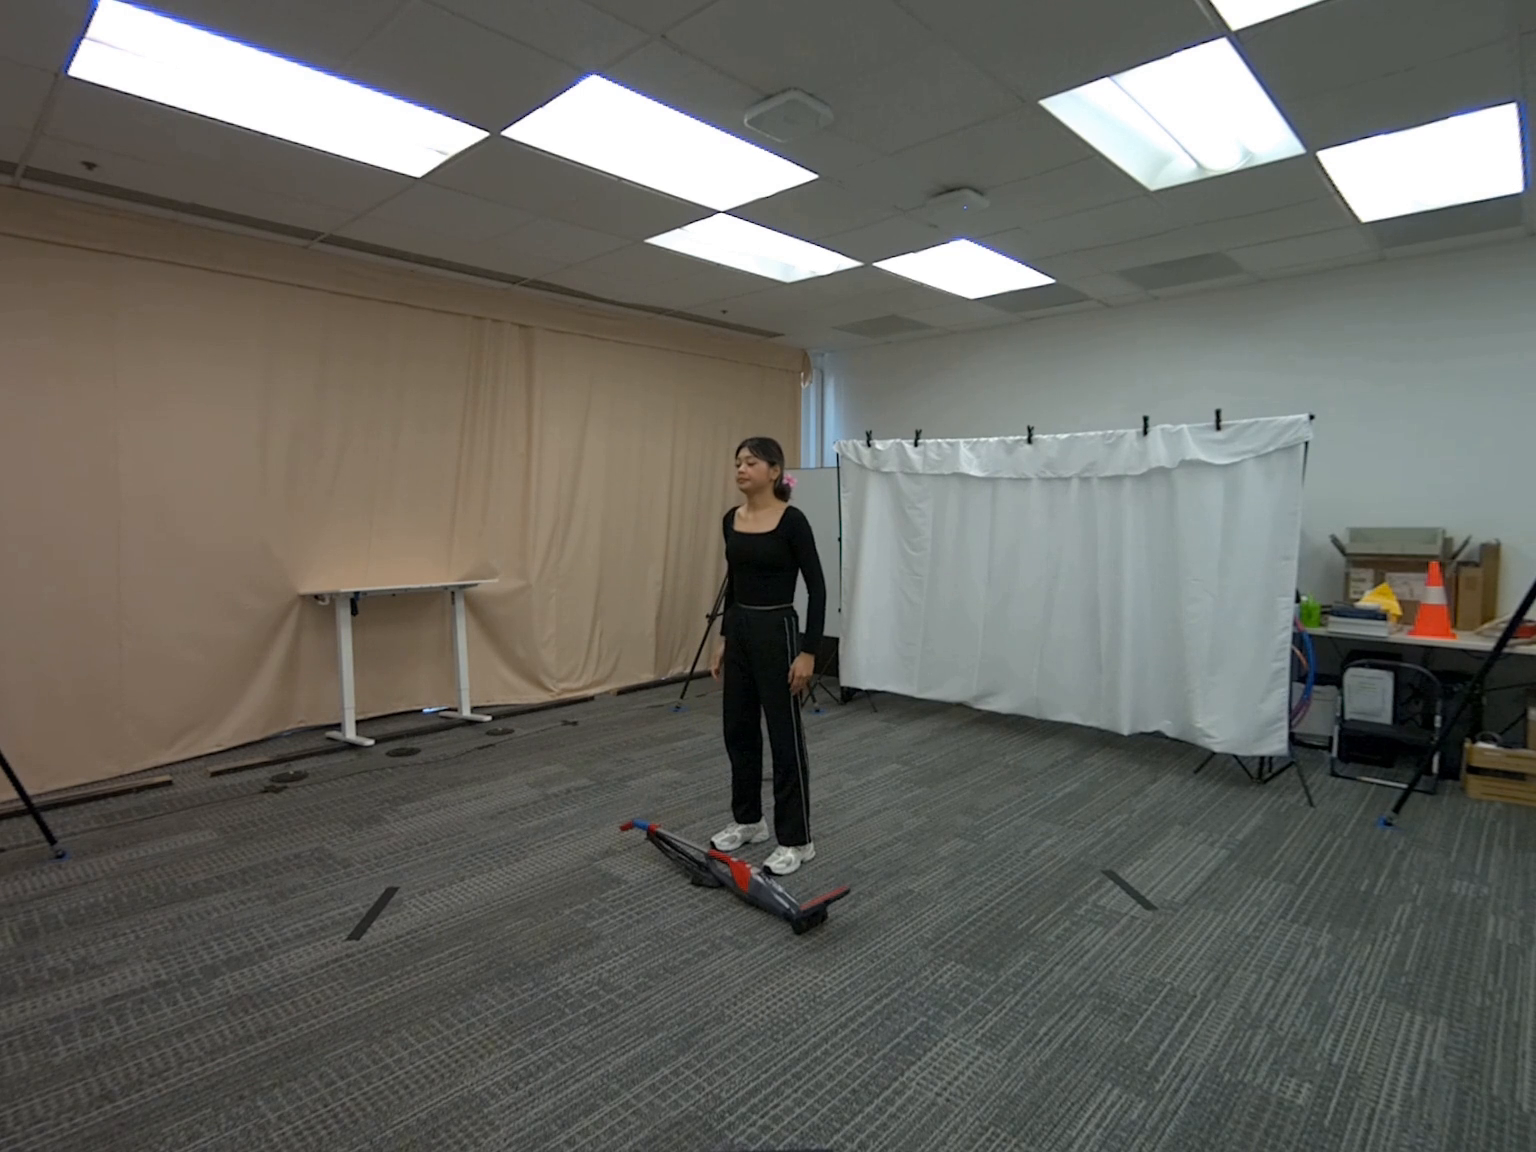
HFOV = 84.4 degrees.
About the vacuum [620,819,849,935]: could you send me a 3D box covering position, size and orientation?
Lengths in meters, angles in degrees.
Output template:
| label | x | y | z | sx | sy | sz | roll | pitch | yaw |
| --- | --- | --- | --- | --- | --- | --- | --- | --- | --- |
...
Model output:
| label | x | y | z | sx | sy | sz | roll | pitch | yaw |
| --- | --- | --- | --- | --- | --- | --- | --- | --- | --- |
| vacuum | -0.218 | 1.072 | 3.118 | 1.084 | 0.144 | 0.244 | 3 | -1 | 43 |
